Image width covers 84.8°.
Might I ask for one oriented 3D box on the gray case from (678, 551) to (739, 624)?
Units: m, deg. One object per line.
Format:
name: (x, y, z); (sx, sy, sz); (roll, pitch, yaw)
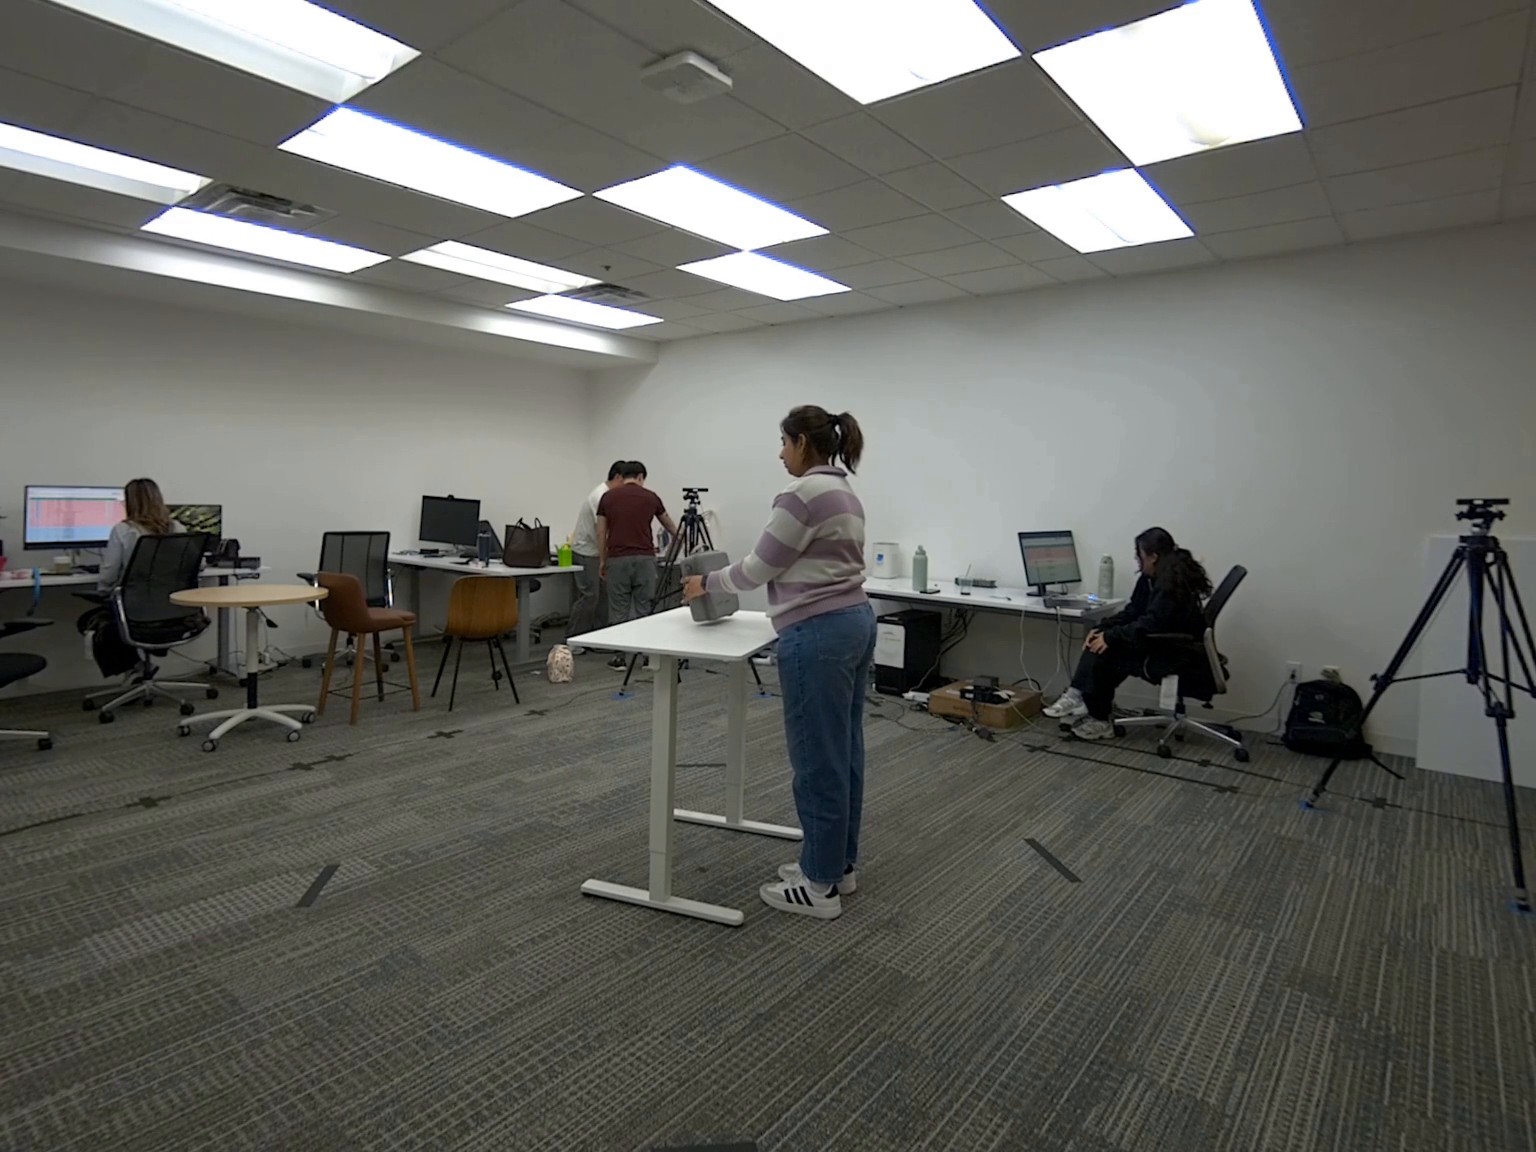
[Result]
gray case: (-0.233, 0.029, 3.243); (0.106, 0.262, 0.251); (-13, -3, 22)
